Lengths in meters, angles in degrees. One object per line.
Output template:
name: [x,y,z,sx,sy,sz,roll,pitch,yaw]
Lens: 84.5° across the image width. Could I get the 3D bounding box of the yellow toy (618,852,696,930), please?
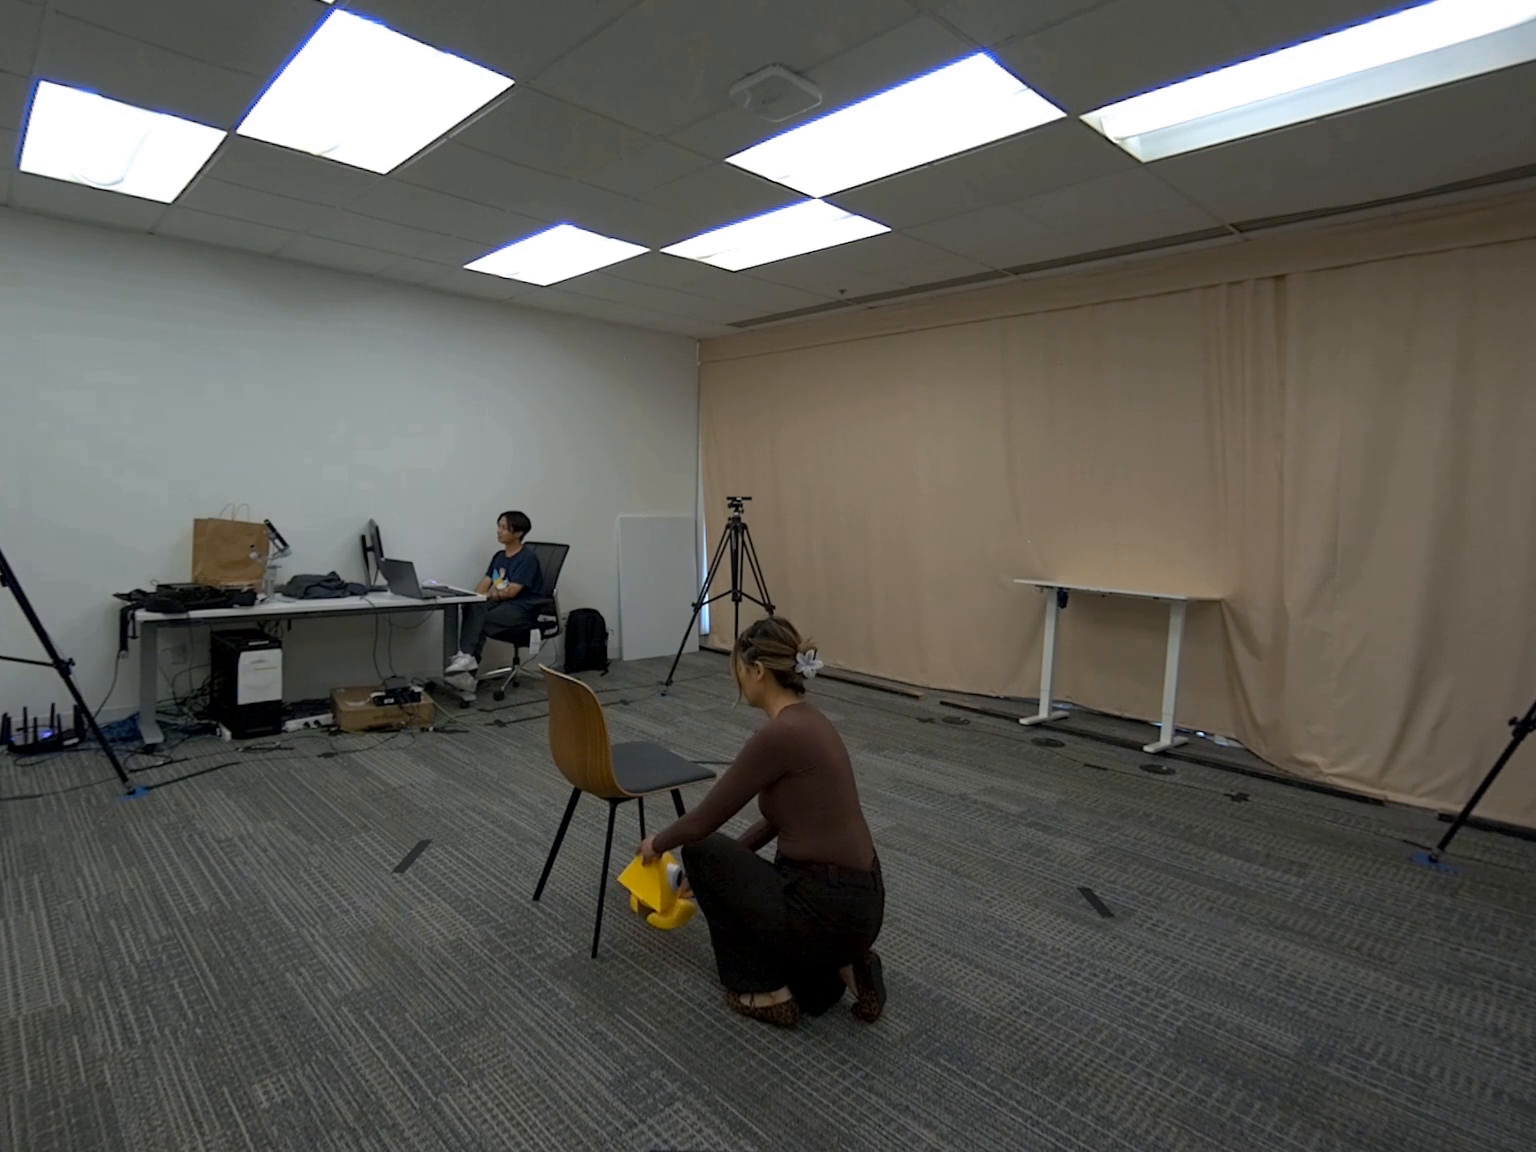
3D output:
yellow toy: [-0.322,0.905,2.542,0.211,0.229,0.189,15,16,42]
